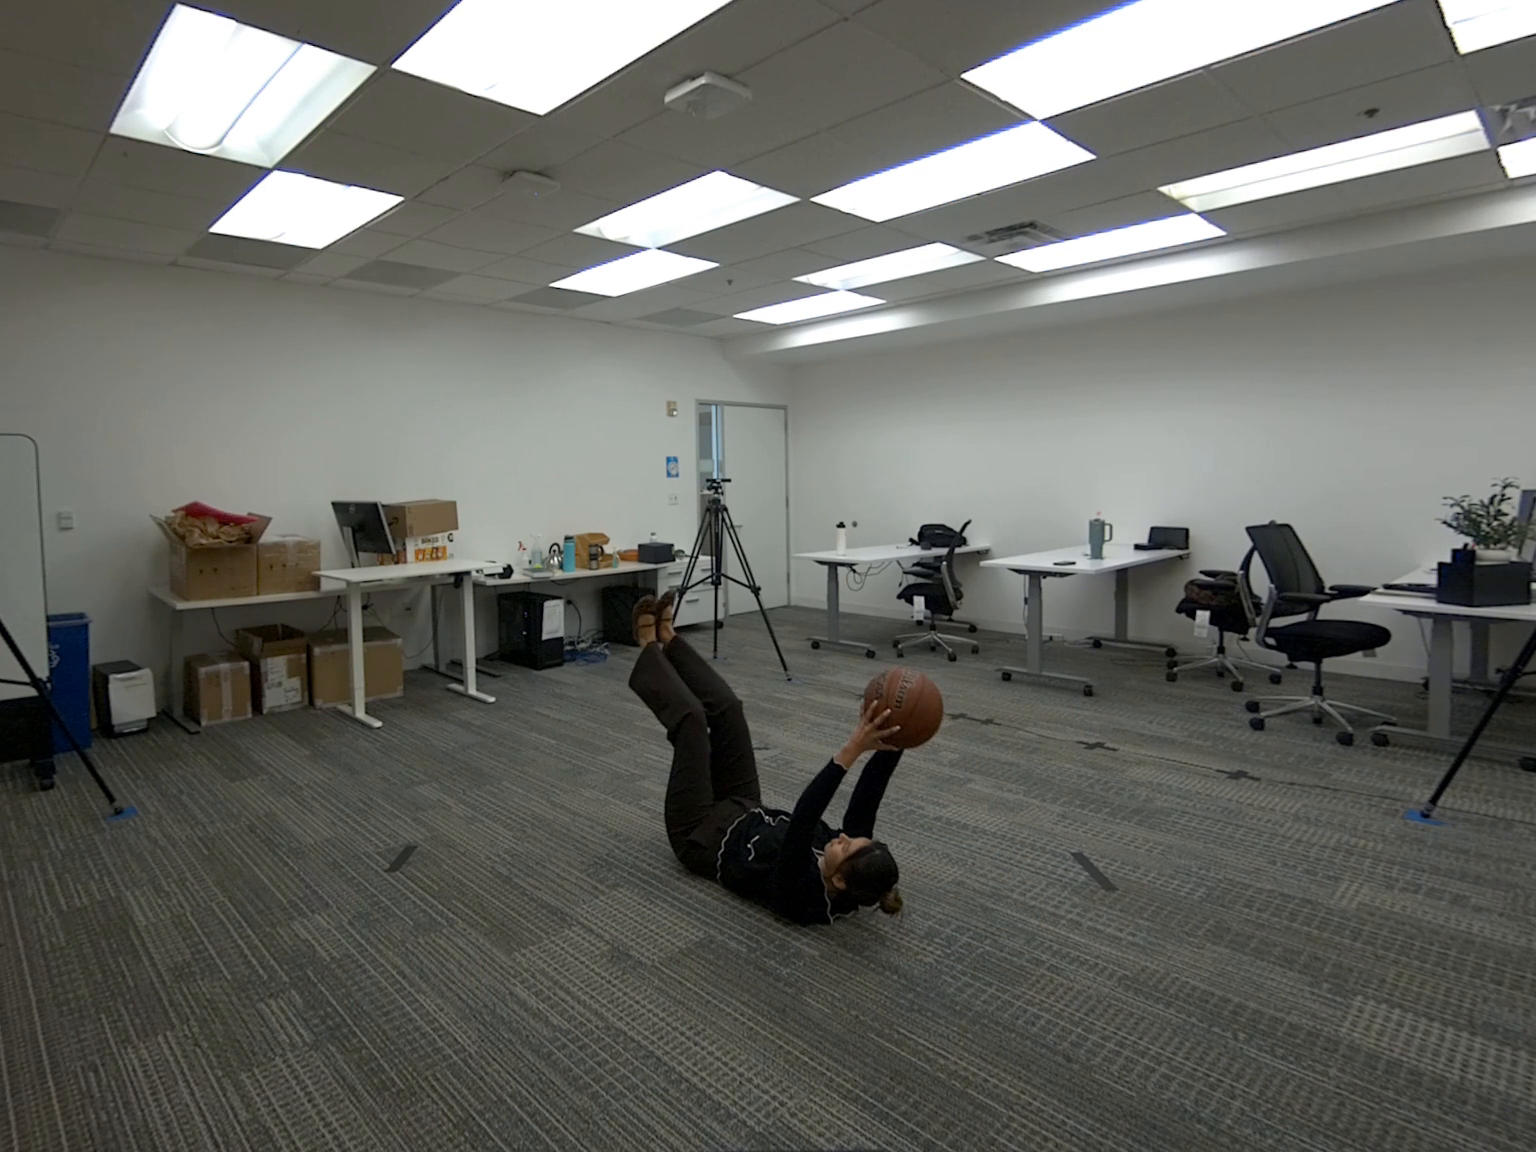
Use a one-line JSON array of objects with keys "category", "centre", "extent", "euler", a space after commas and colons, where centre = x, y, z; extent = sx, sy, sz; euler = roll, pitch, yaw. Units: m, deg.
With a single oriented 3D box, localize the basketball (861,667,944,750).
[{"category": "basketball", "centre": [0.401, 0.396, 2.506], "extent": [0.236, 0.235, 0.237], "euler": [-1, 5, -2]}]
